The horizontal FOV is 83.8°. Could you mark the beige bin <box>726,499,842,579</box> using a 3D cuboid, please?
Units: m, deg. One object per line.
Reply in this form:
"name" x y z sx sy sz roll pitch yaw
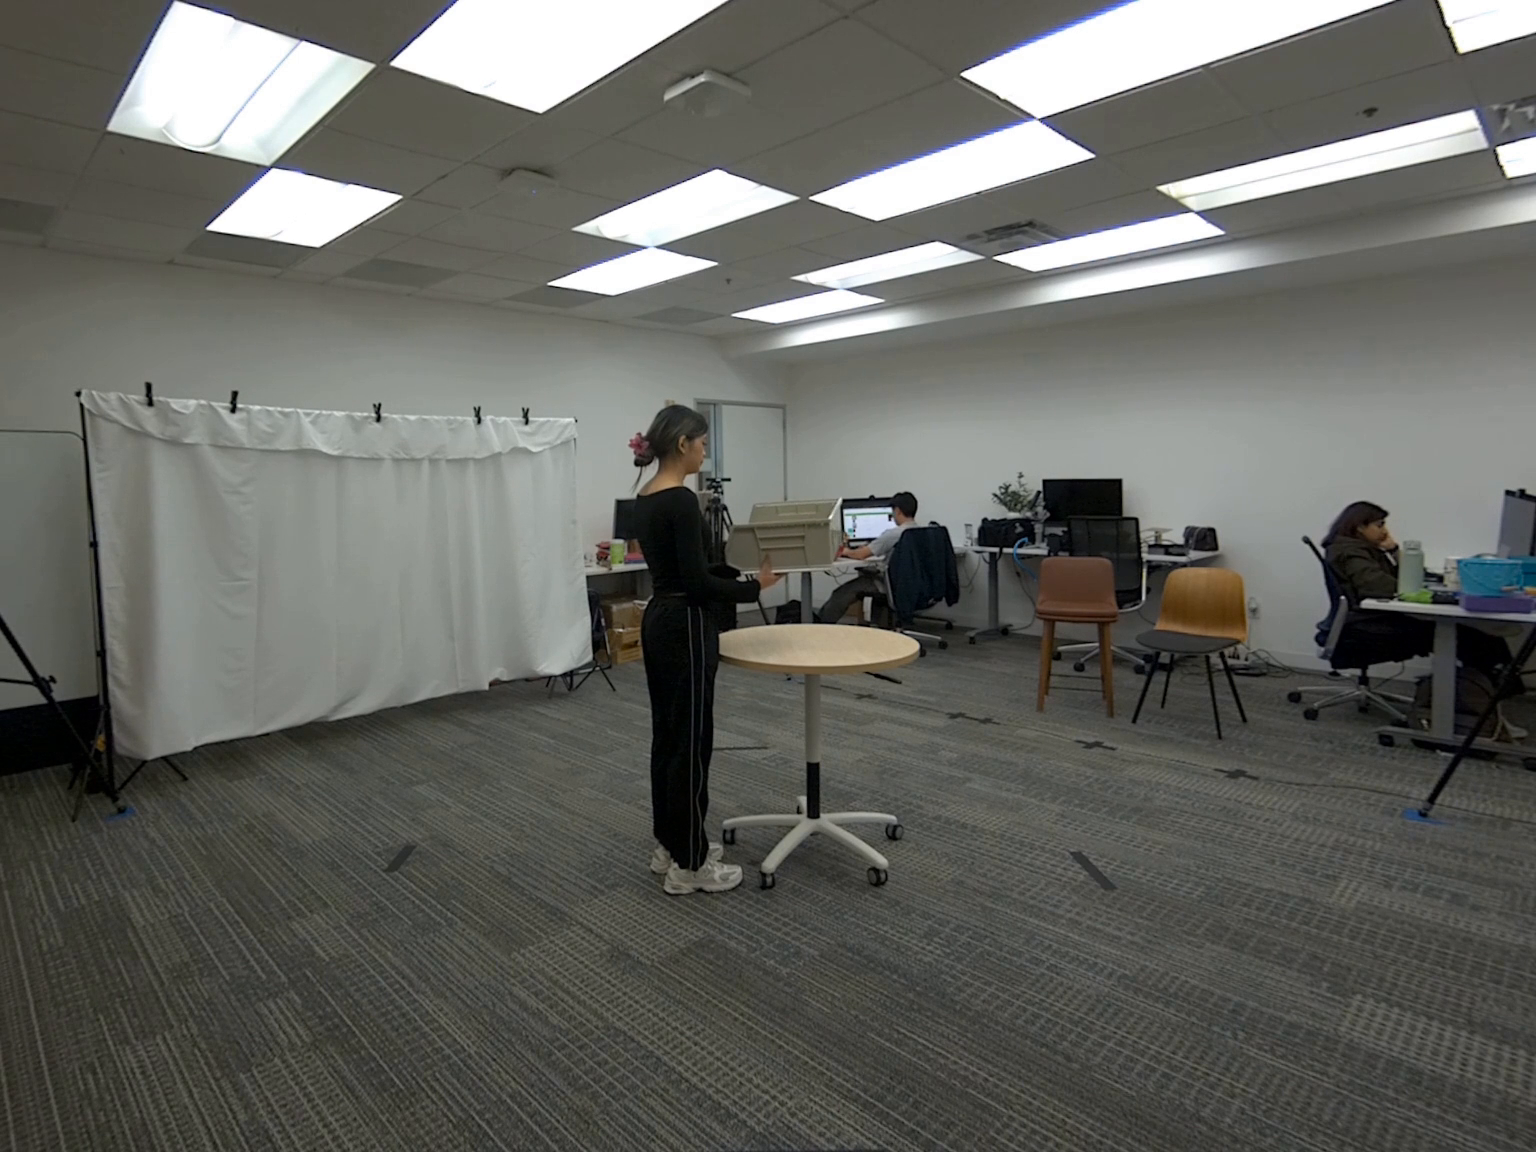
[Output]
"beige bin" 0.071 -0.147 3.116 0.382 0.187 0.422 -3 13 12
